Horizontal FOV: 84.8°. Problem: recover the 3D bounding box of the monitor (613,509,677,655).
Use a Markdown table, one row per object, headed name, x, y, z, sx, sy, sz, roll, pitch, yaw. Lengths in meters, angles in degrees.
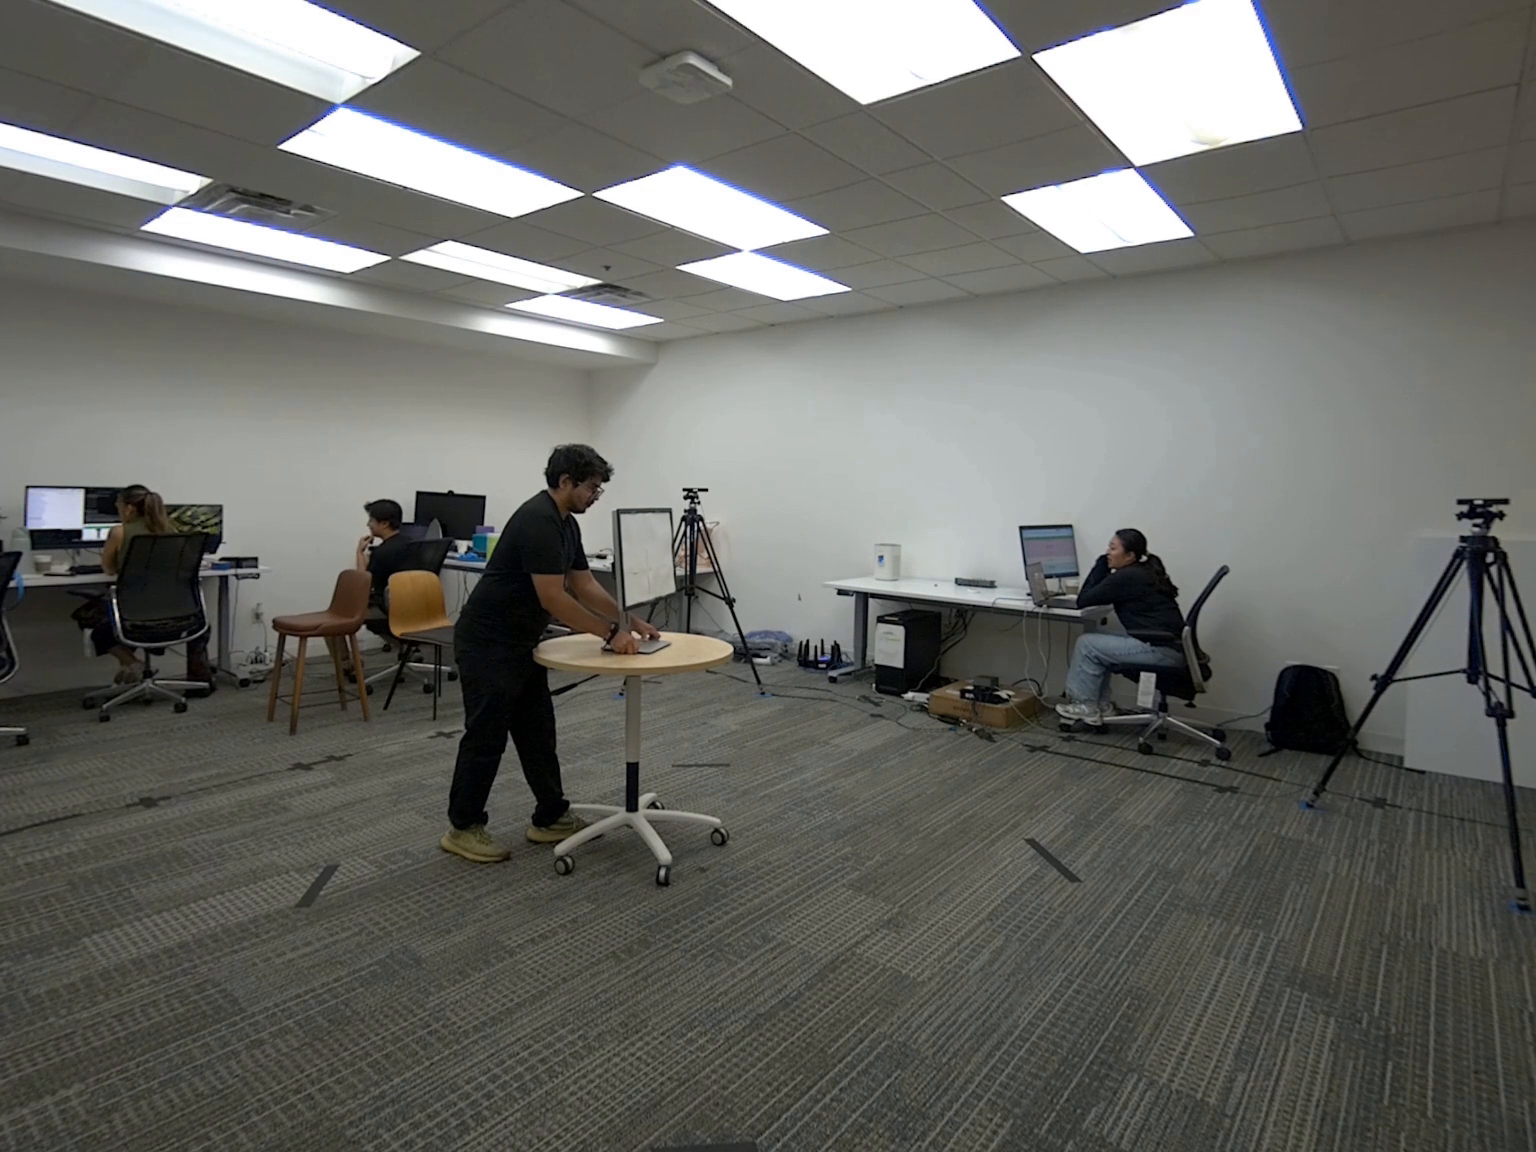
| name | x | y | z | sx | sy | sz | roll | pitch | yaw |
| --- | --- | --- | --- | --- | --- | --- | --- | --- | --- |
| monitor | -0.537 | 0.009 | 3.265 | 0.214 | 0.553 | 0.557 | 1 | 3 | 14 |
